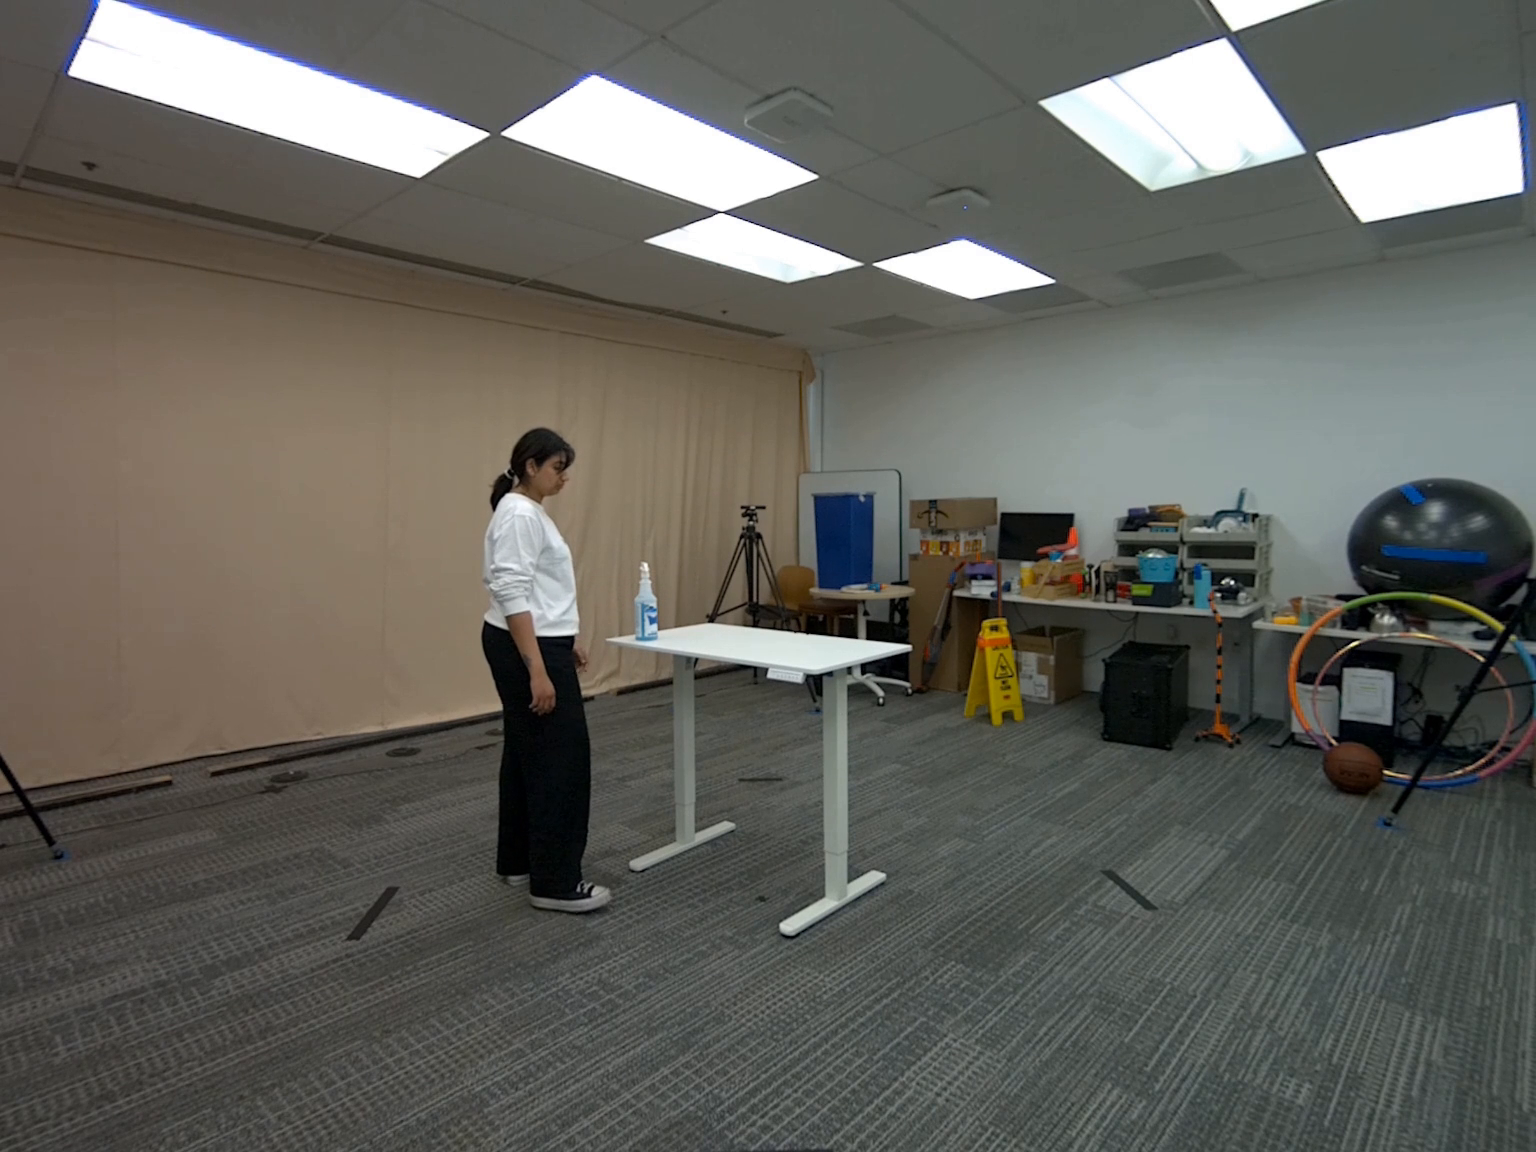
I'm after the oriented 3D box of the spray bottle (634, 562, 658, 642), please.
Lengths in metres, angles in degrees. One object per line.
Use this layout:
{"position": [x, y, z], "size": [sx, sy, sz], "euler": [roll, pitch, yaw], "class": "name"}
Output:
{"position": [-0.470, 0.101, 3.242], "size": [0.088, 0.297, 0.089], "euler": [-1, 2, 10], "class": "spray bottle"}
